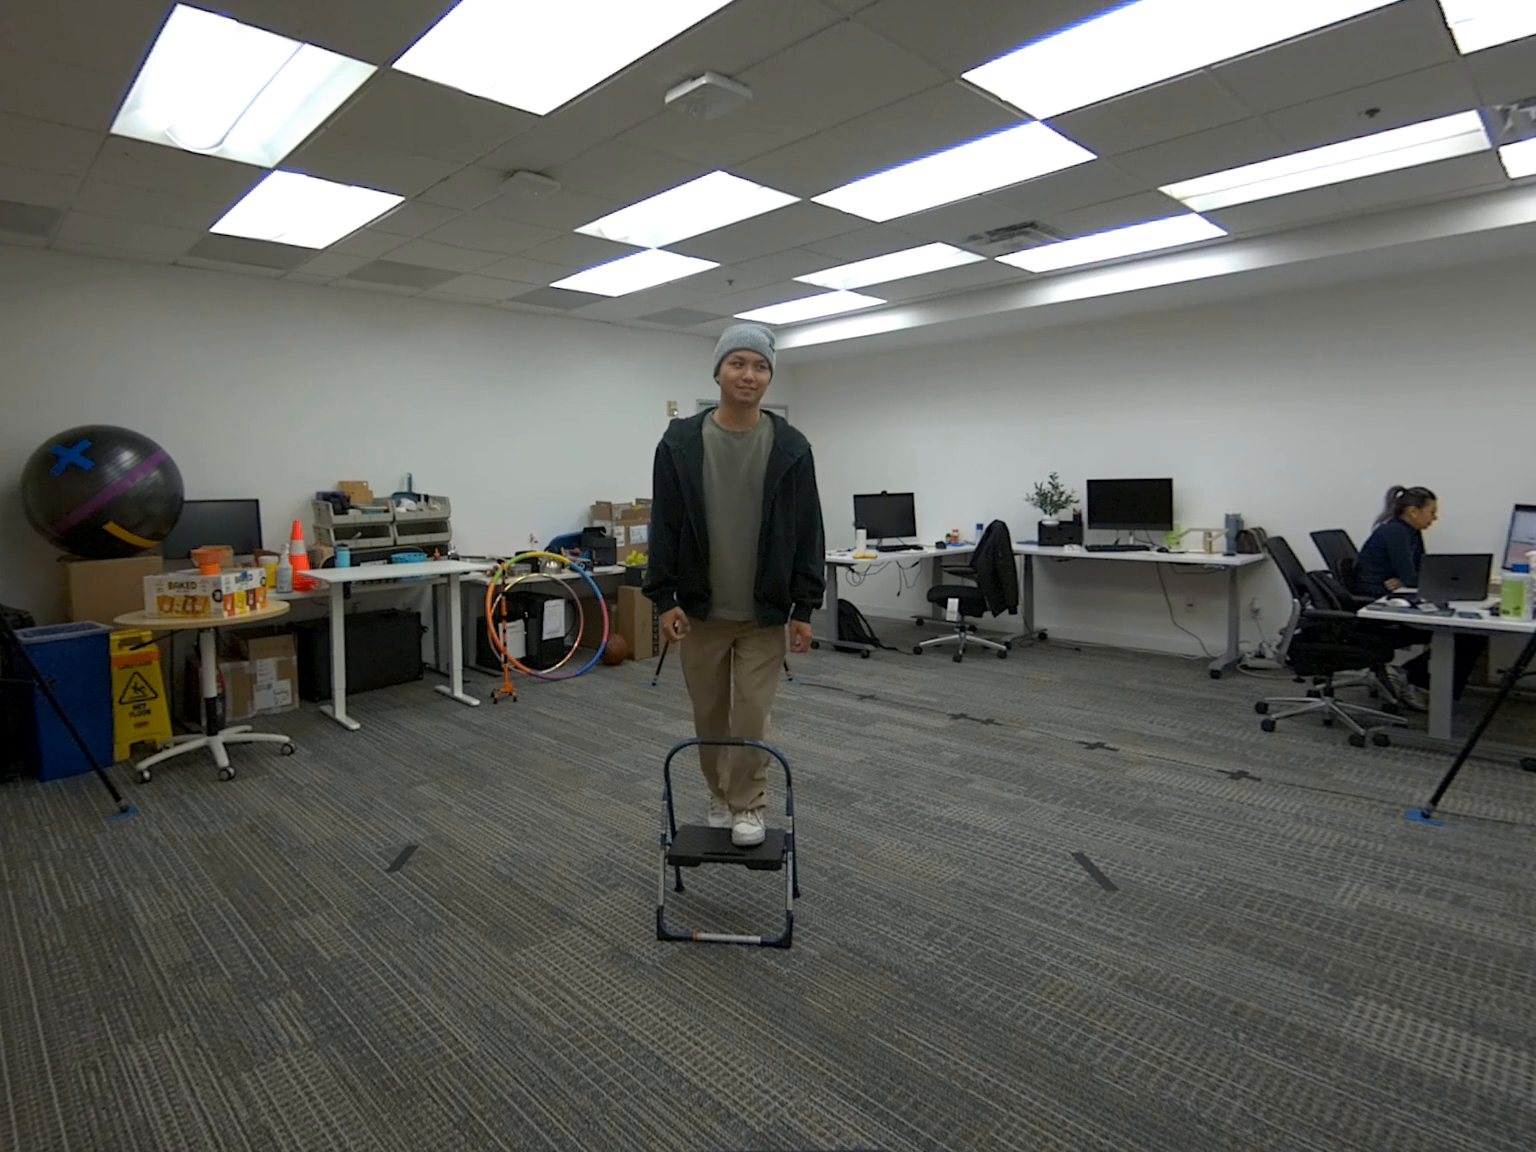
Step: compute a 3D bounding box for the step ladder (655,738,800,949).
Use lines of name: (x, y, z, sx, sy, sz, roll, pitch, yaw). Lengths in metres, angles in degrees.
step ladder: (-0.121, 0.794, 2.717, 0.434, 0.604, 0.348, 0, 4, 6)
